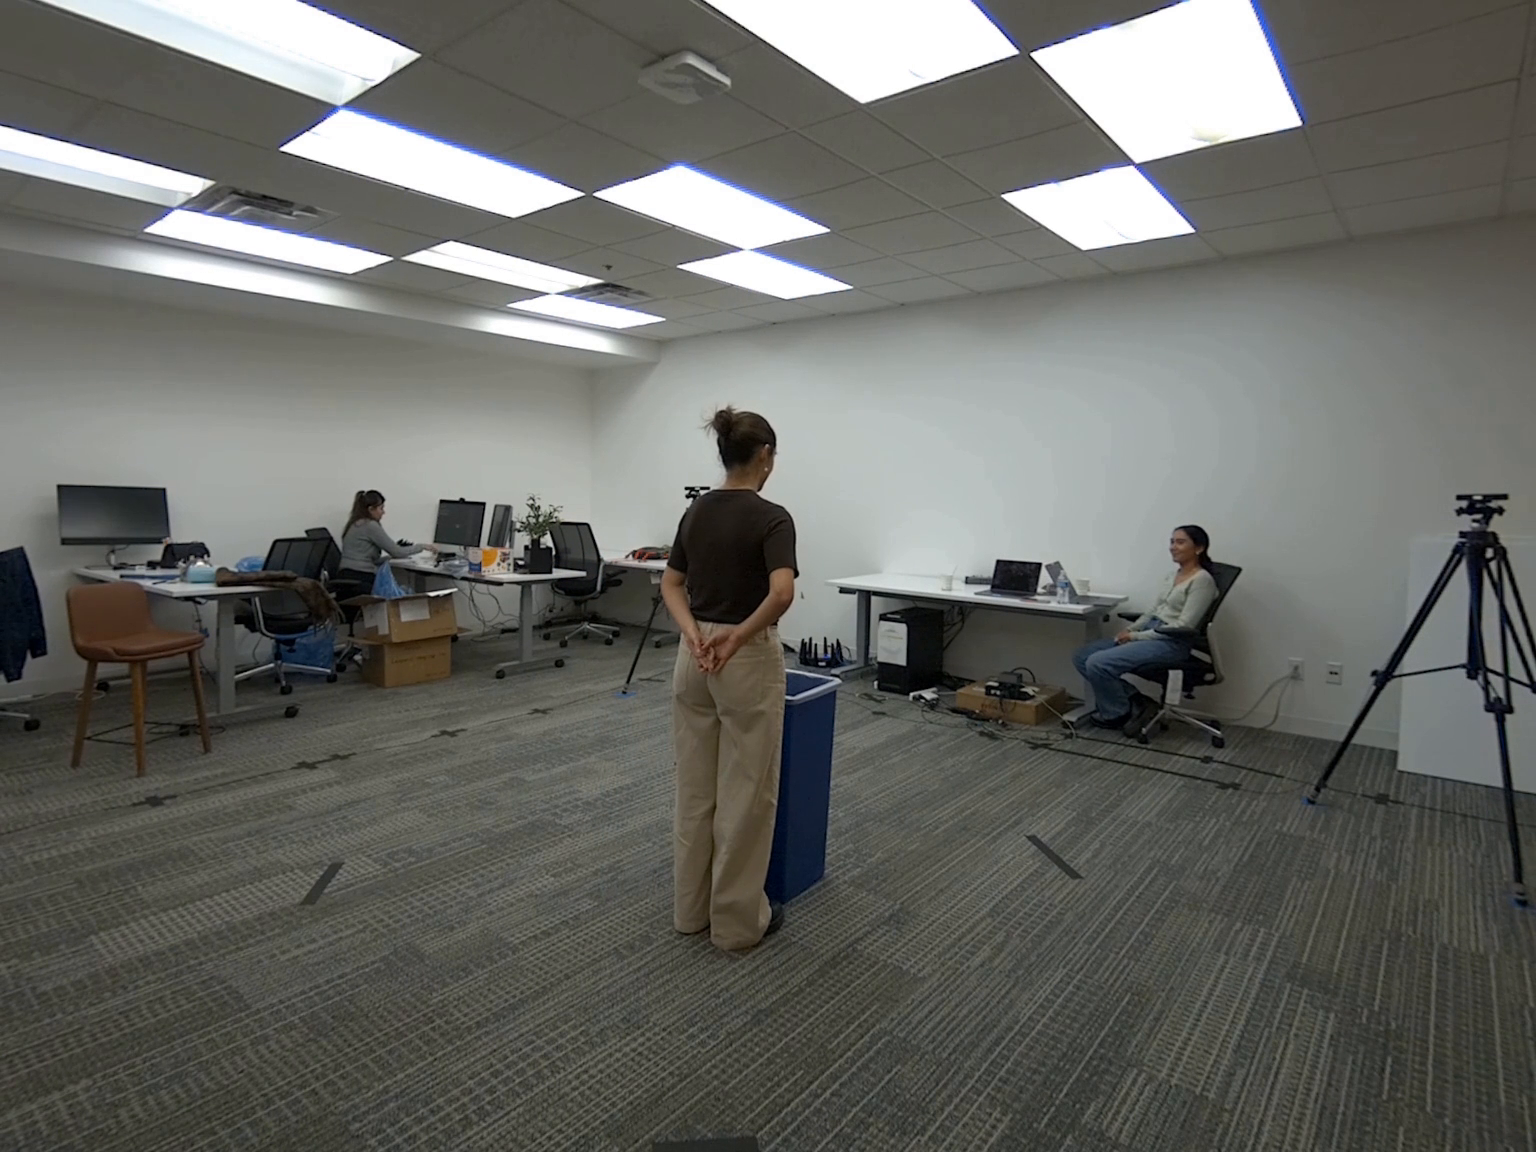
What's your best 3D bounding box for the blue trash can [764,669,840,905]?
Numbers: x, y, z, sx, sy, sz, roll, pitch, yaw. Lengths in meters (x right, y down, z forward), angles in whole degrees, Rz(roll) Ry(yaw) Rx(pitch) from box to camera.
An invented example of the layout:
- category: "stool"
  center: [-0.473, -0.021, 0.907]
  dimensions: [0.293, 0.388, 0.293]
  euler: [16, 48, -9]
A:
- category: "blue trash can"
  center: [0.007, 0.720, 3.008]
  dimensions: [0.390, 0.711, 0.363]
  euler: [4, 4, 33]
